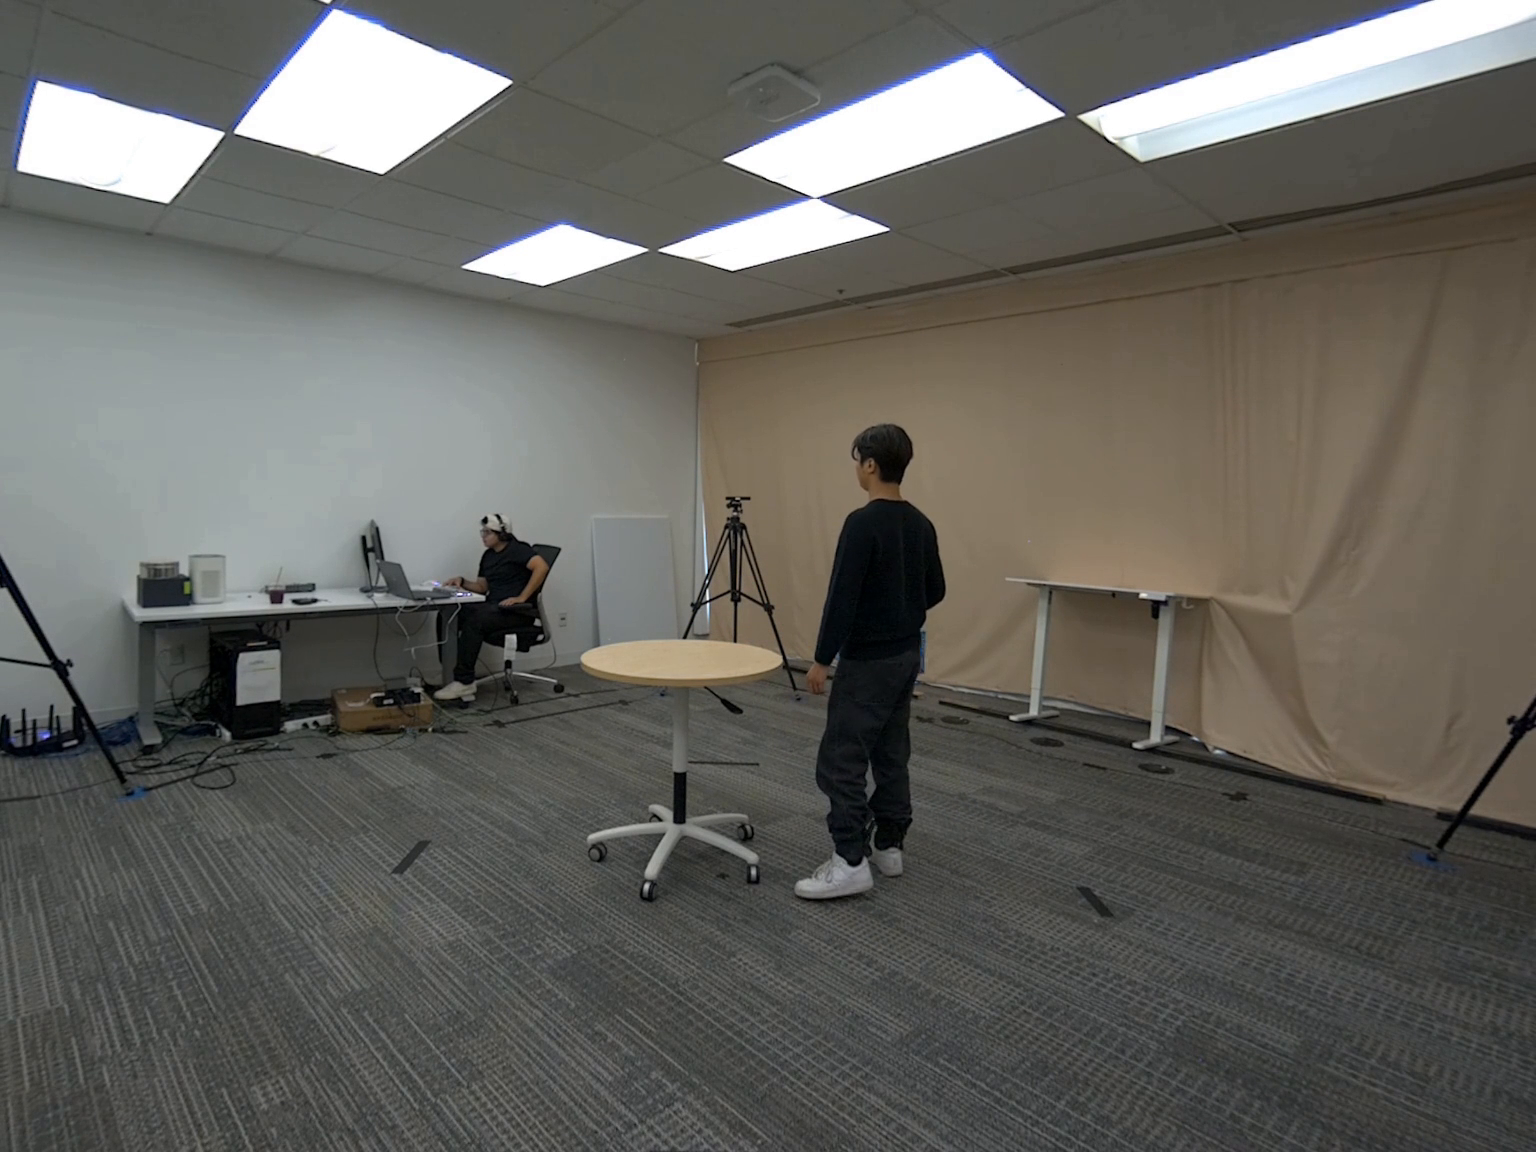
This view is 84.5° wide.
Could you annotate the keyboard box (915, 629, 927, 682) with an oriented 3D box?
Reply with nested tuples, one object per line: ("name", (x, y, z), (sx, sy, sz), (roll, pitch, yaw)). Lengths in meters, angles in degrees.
("keyboard box", (0.451, 0.297, 3.503), (0.058, 0.176, 0.448), (1, 3, -43))
